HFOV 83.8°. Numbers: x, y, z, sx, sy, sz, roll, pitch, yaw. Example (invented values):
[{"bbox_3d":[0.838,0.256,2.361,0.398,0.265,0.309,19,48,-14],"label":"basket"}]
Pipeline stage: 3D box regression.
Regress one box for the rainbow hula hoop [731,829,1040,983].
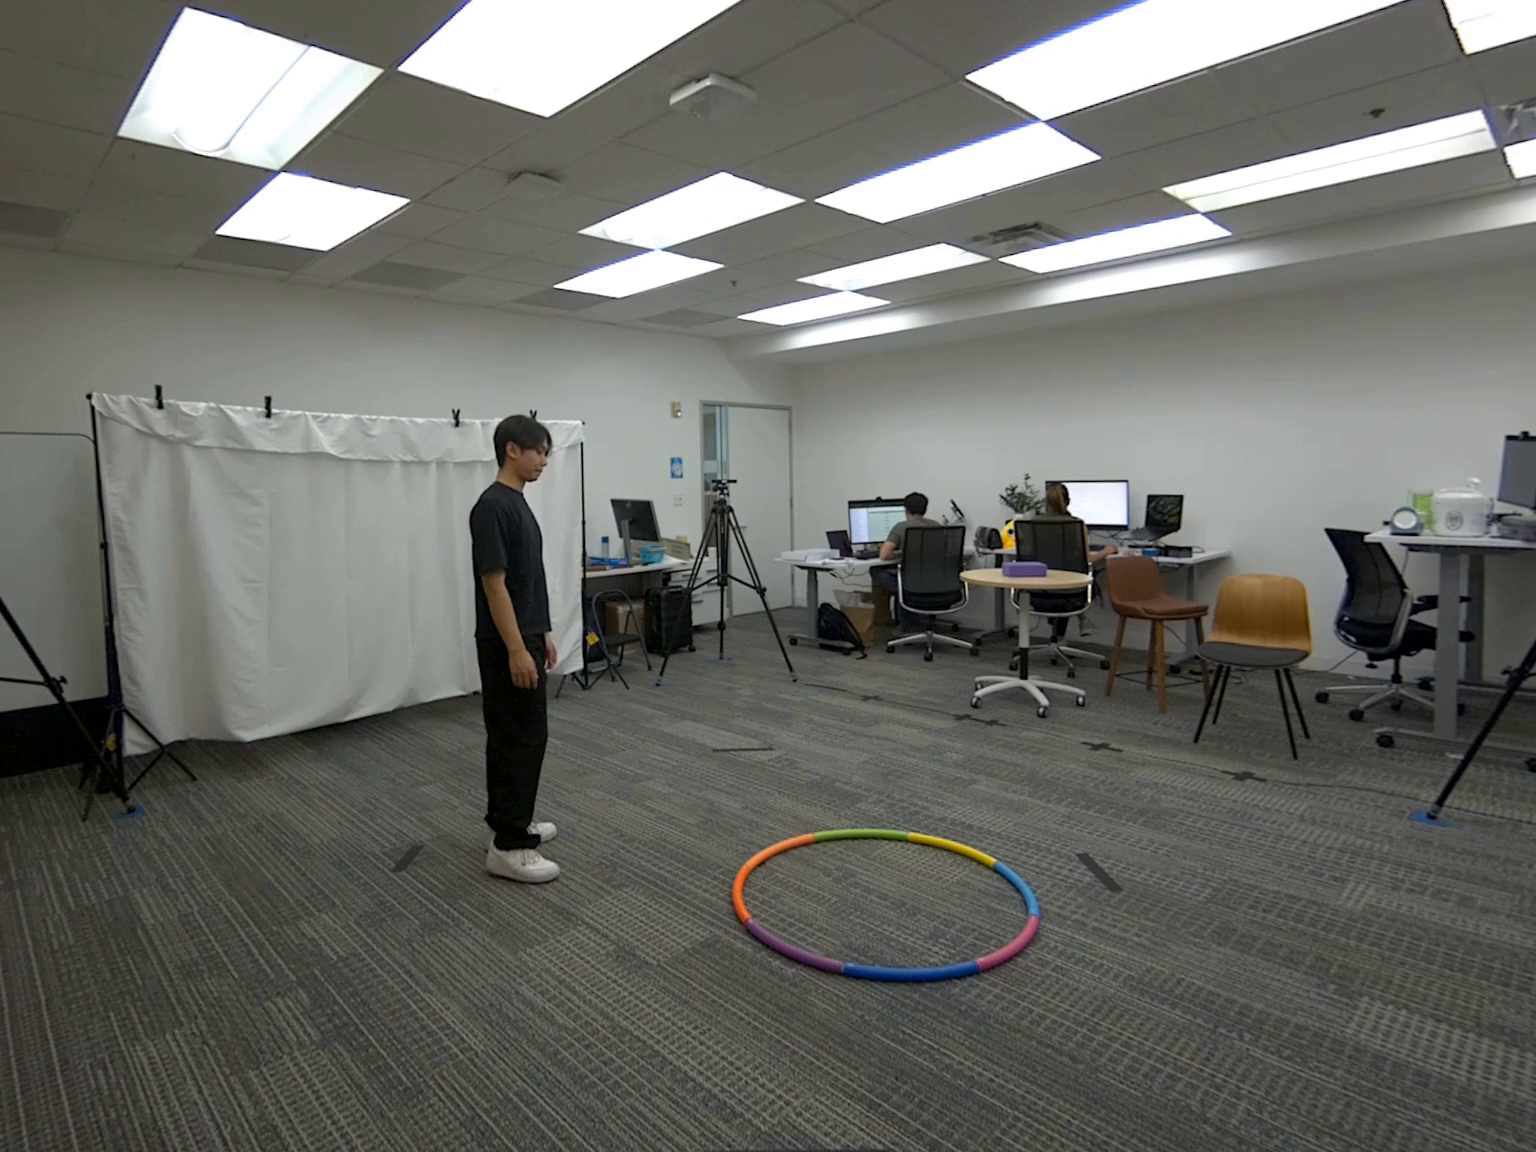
[{"bbox_3d":[0.372,1.039,2.845,0.978,0.035,0.984,-2,7,-2],"label":"rainbow hula hoop"}]
